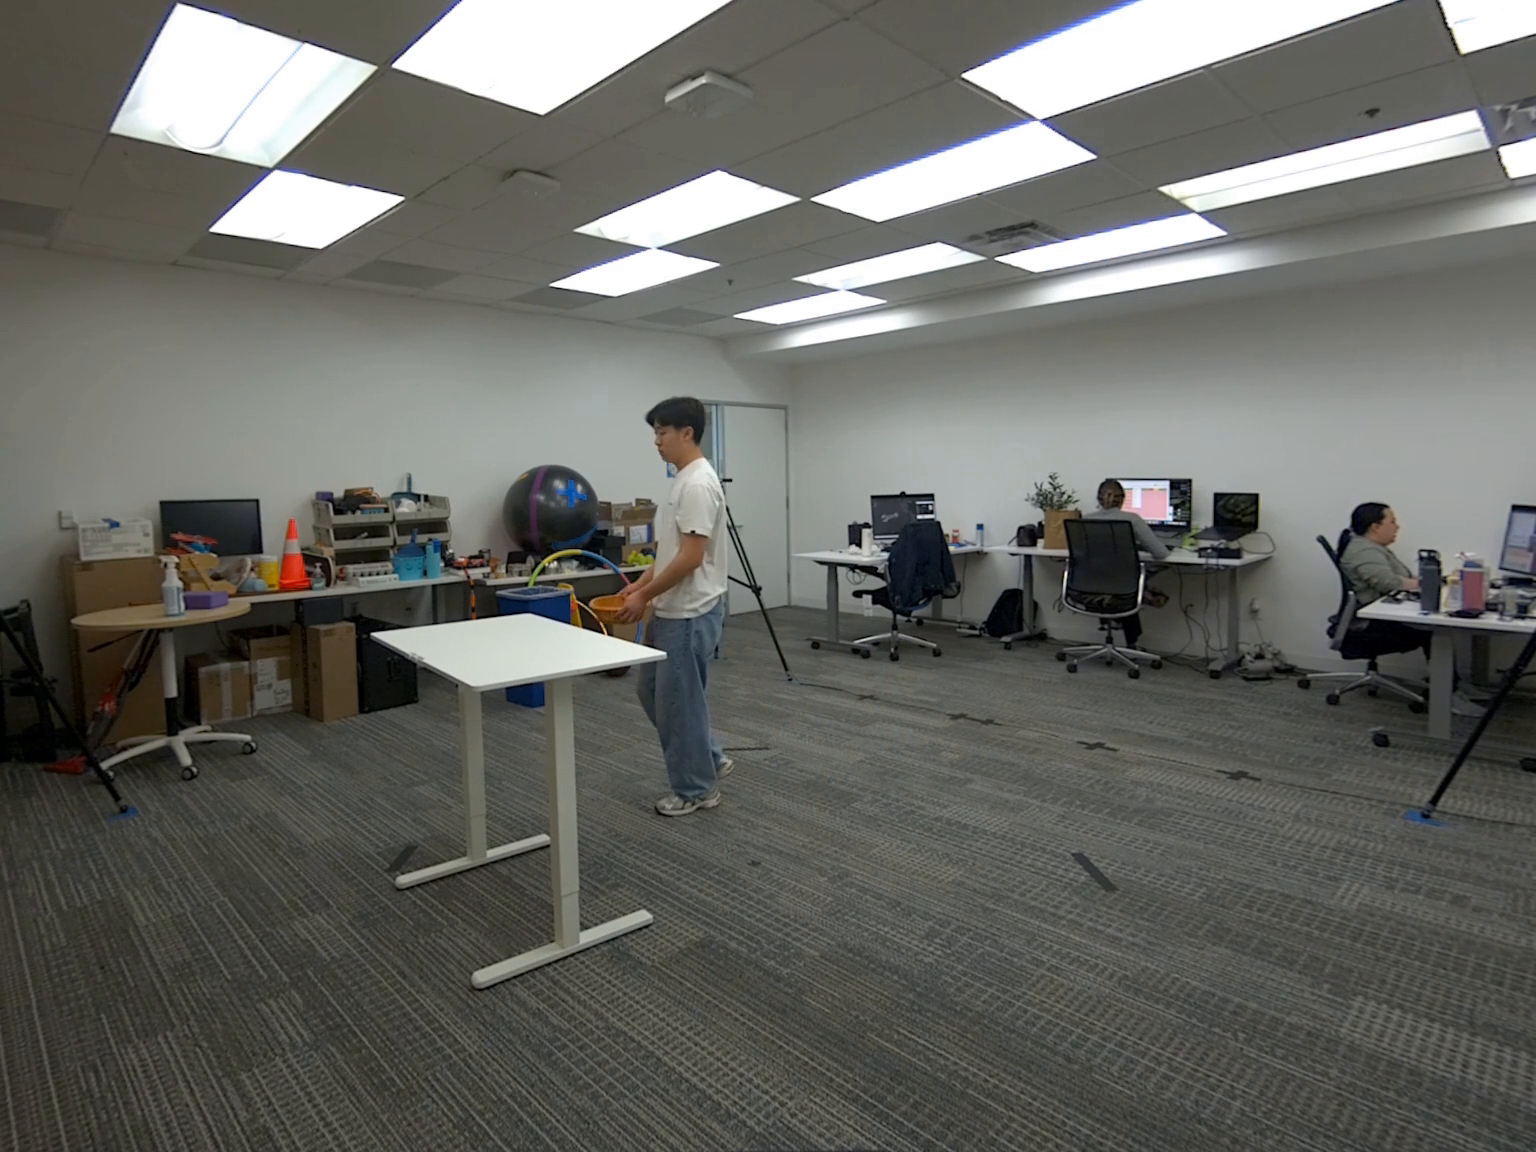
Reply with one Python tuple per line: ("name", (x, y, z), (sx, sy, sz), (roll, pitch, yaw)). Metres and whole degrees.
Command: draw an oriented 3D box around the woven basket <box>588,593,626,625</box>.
("woven basket", (-0.596, 0.137, 3.576), (0.253, 0.073, 0.353), (-1, 9, 0))
